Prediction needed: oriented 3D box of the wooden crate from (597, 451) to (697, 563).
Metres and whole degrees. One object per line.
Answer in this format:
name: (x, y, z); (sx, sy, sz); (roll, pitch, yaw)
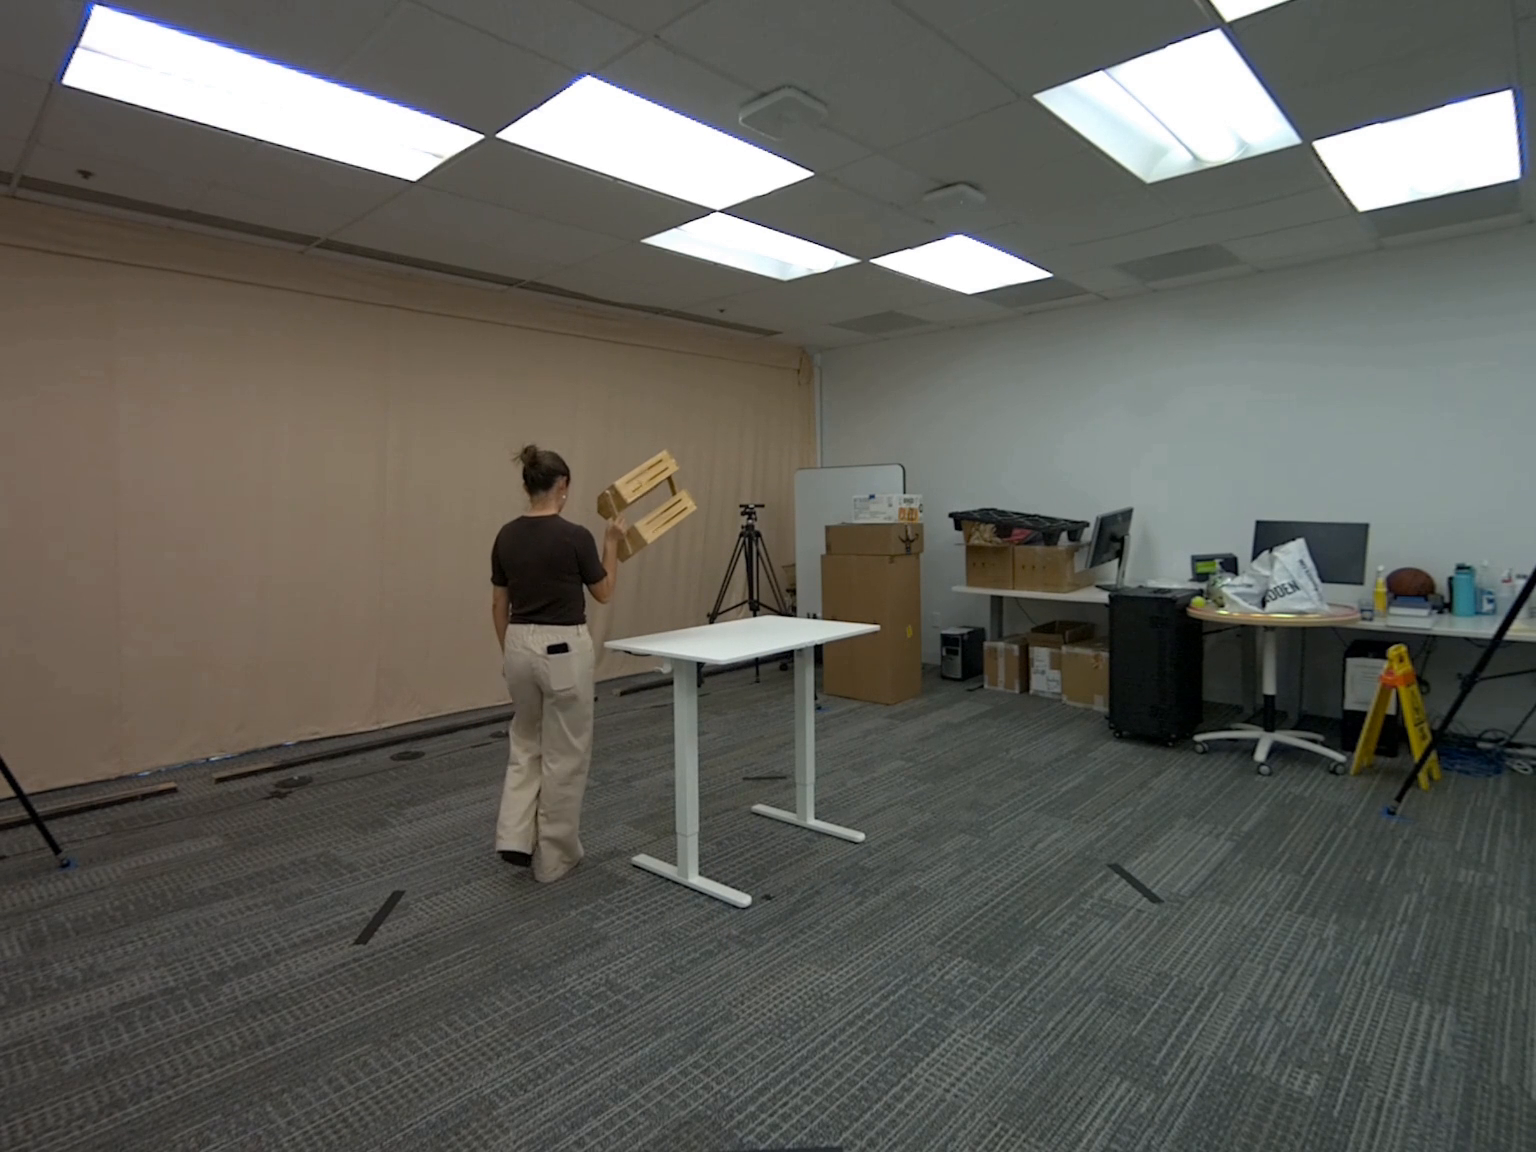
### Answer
wooden crate: (-0.493, -0.273, 3.317); (0.320, 0.272, 0.307); (-40, 7, -38)
